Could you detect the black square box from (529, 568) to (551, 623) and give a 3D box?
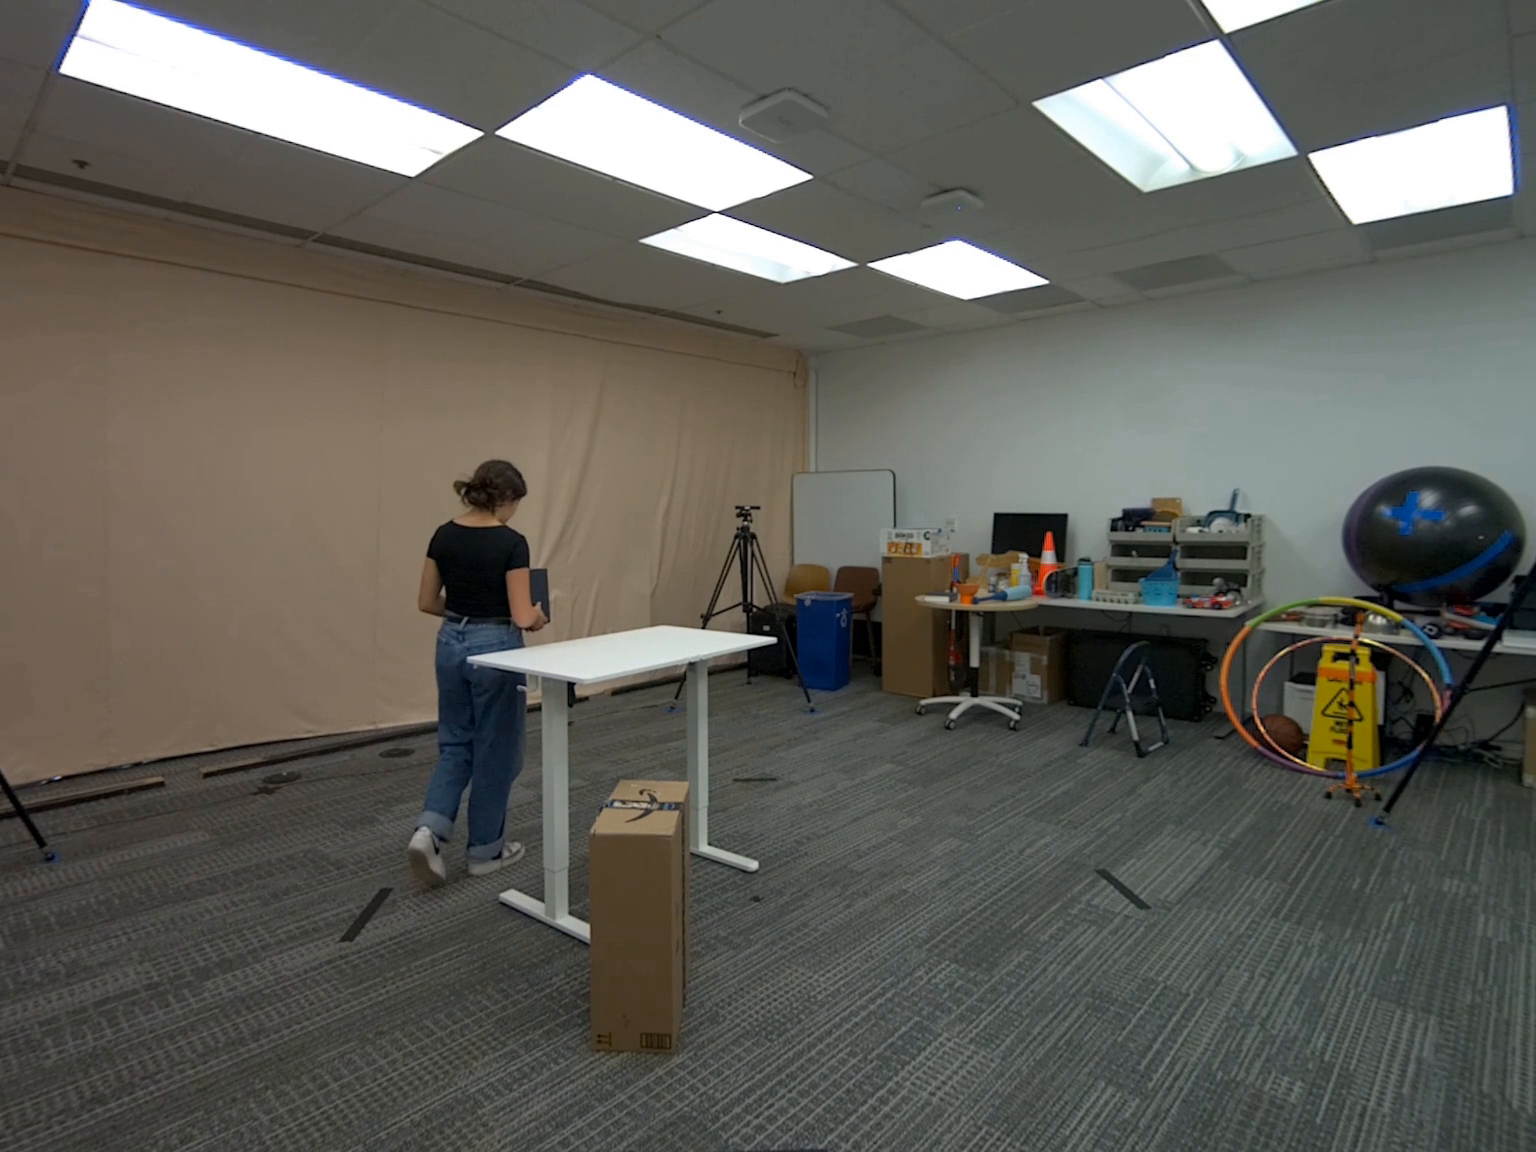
[{"bbox_3d":[-1.044,0.086,3.422,0.222,0.227,0.153,-2,4,22],"label":"black square box"}]
